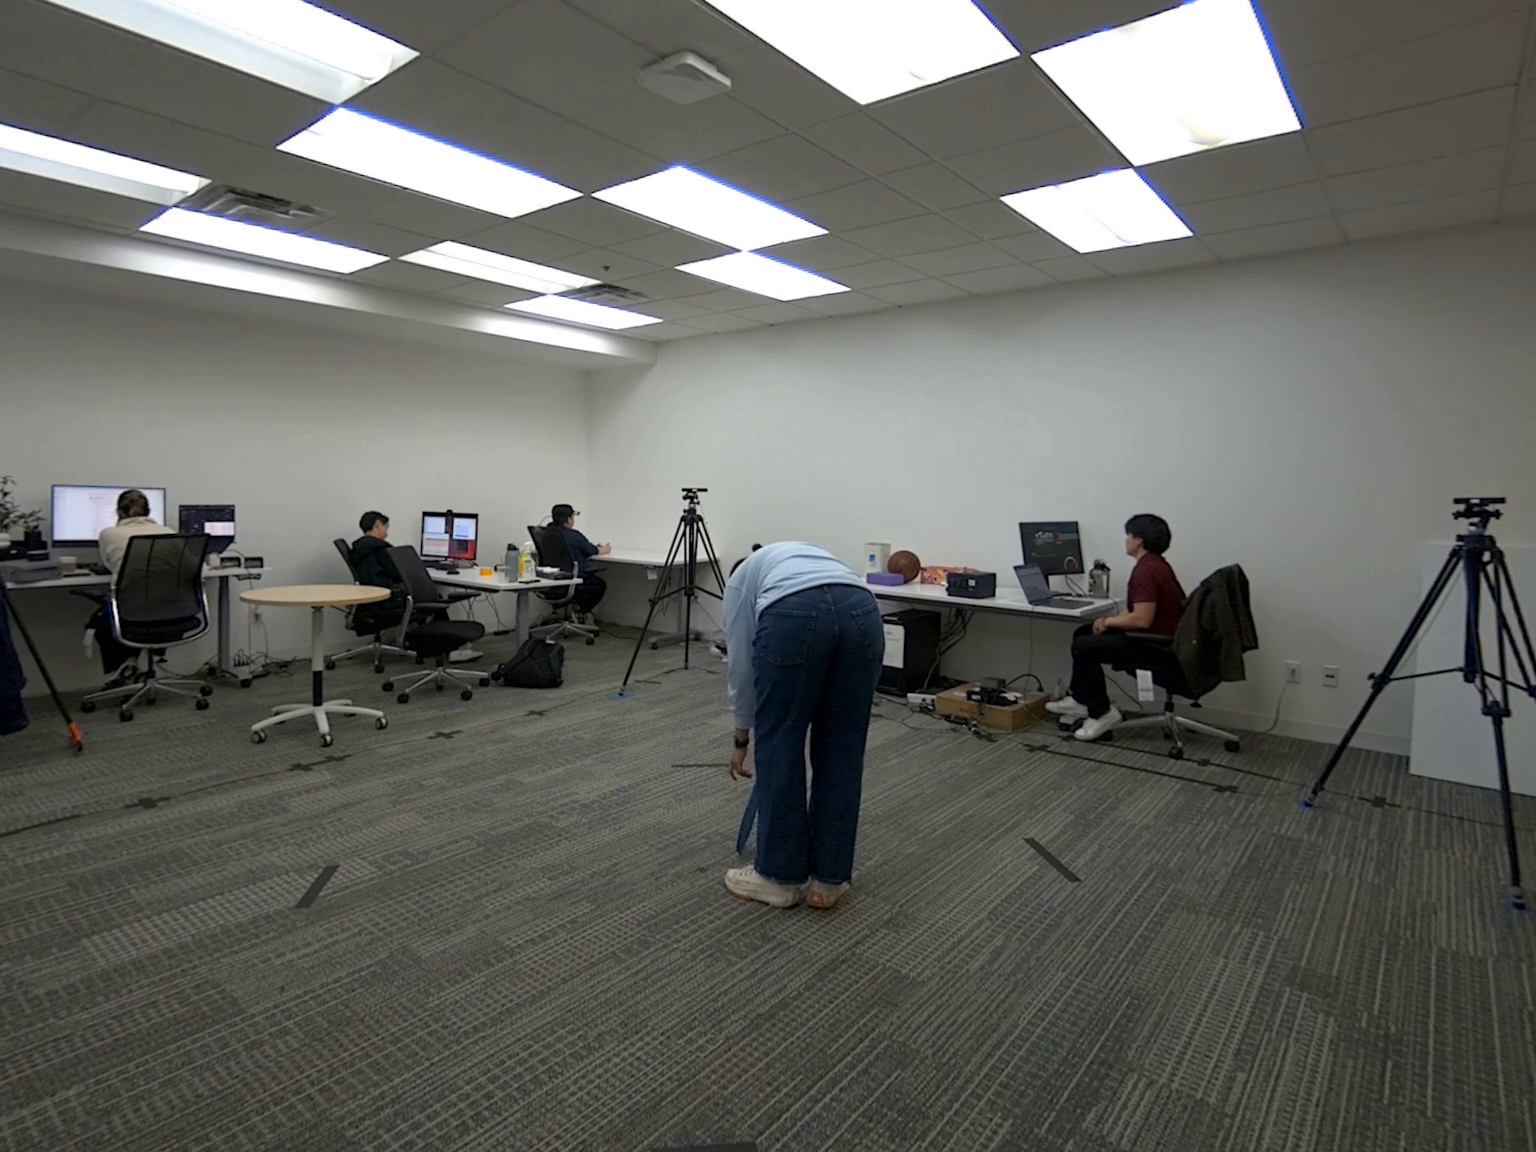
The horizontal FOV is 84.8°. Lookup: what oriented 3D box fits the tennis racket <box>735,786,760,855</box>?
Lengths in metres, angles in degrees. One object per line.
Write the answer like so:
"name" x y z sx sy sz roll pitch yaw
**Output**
"tennis racket" -0.066 0.847 3.256 0.032 0.433 0.210 14 0 13
